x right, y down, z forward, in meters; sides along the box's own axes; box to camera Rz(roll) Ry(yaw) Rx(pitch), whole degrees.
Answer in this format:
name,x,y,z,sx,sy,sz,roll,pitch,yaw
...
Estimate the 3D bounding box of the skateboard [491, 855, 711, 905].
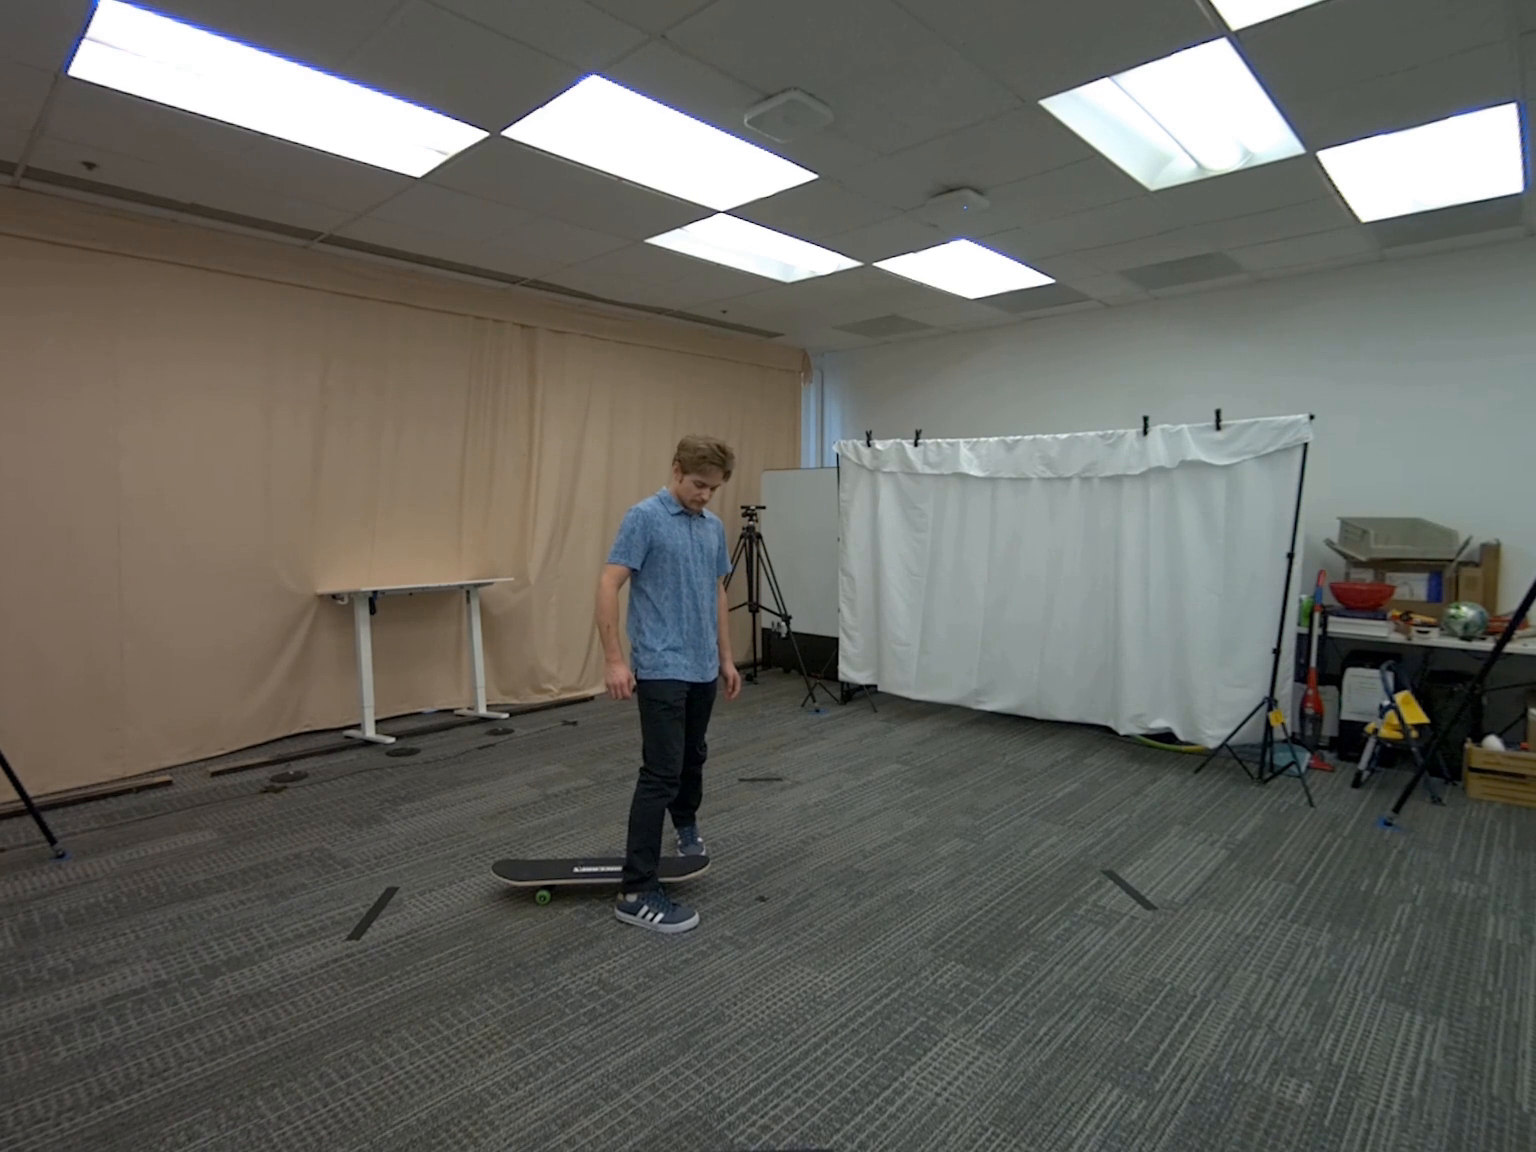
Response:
name,x,y,z,sx,sy,sz,roll,pitch,yaw
skateboard,-0.602,1.087,3.036,0.784,0.110,0.194,-1,4,-1
